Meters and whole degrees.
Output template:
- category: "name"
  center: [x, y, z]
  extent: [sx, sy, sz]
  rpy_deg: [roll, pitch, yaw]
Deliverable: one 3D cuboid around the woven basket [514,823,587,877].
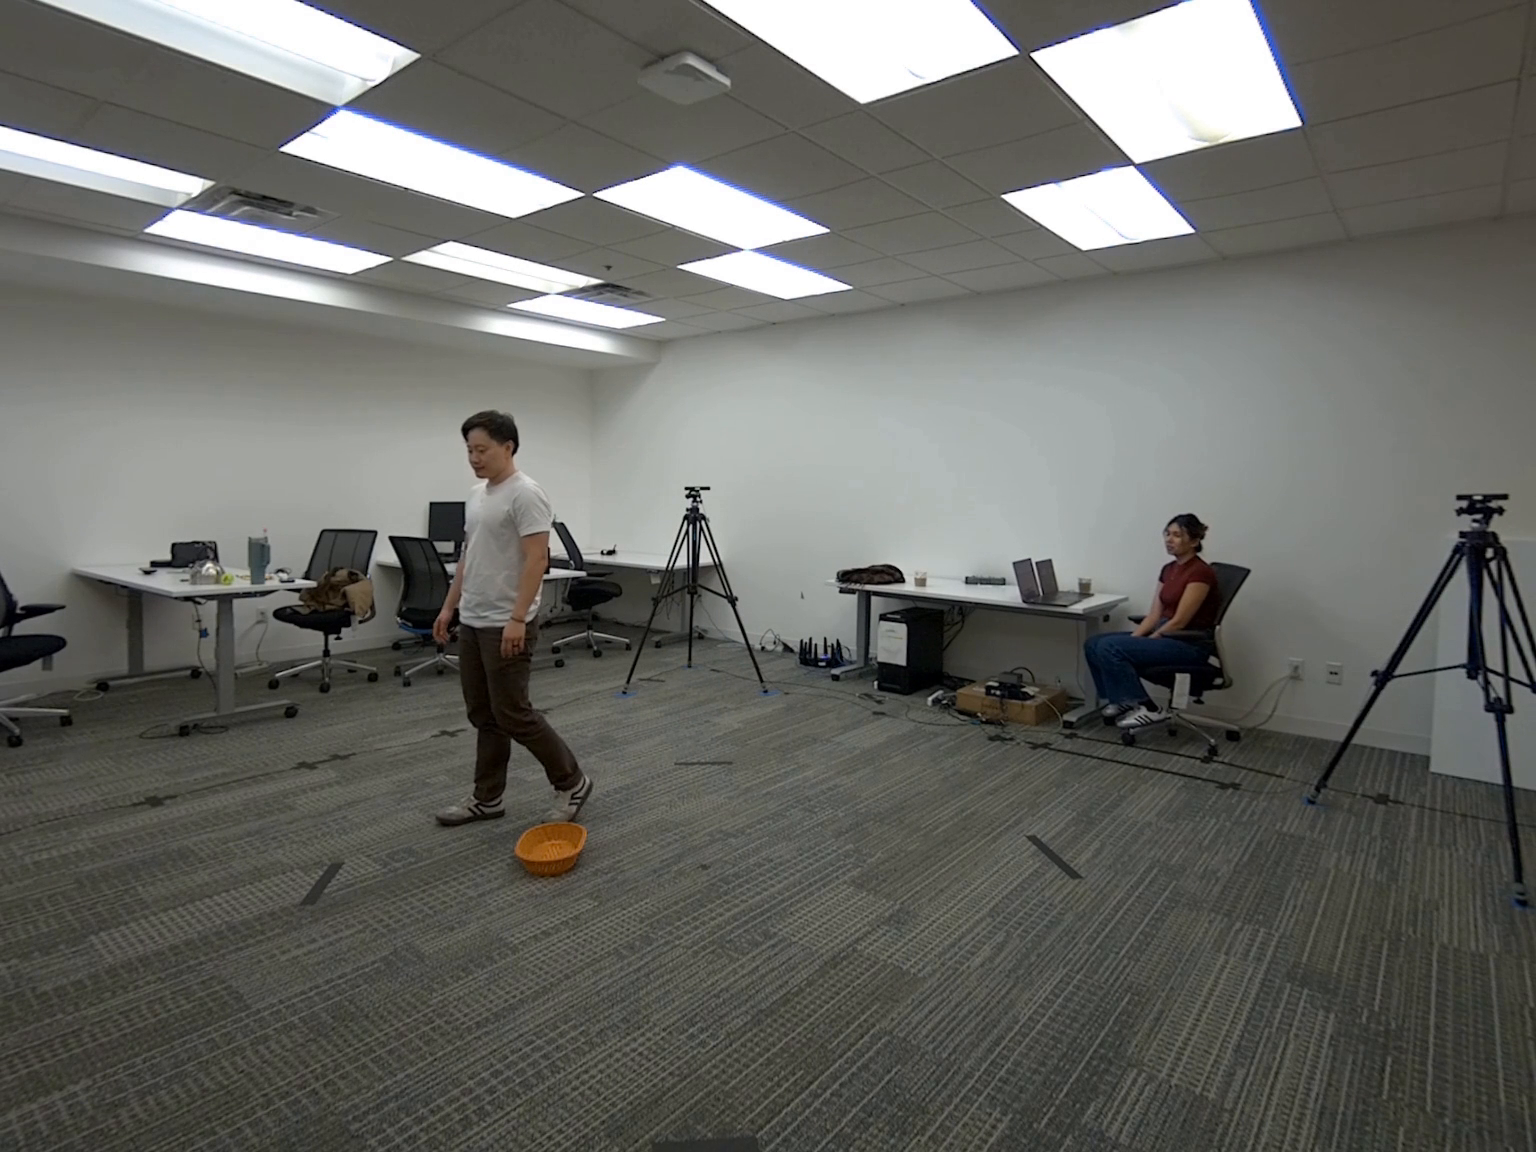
- category: "woven basket"
  center: [-0.814, 1.013, 3.164]
  extent: [0.252, 0.073, 0.352]
  rpy_deg: [-1, 5, -2]
